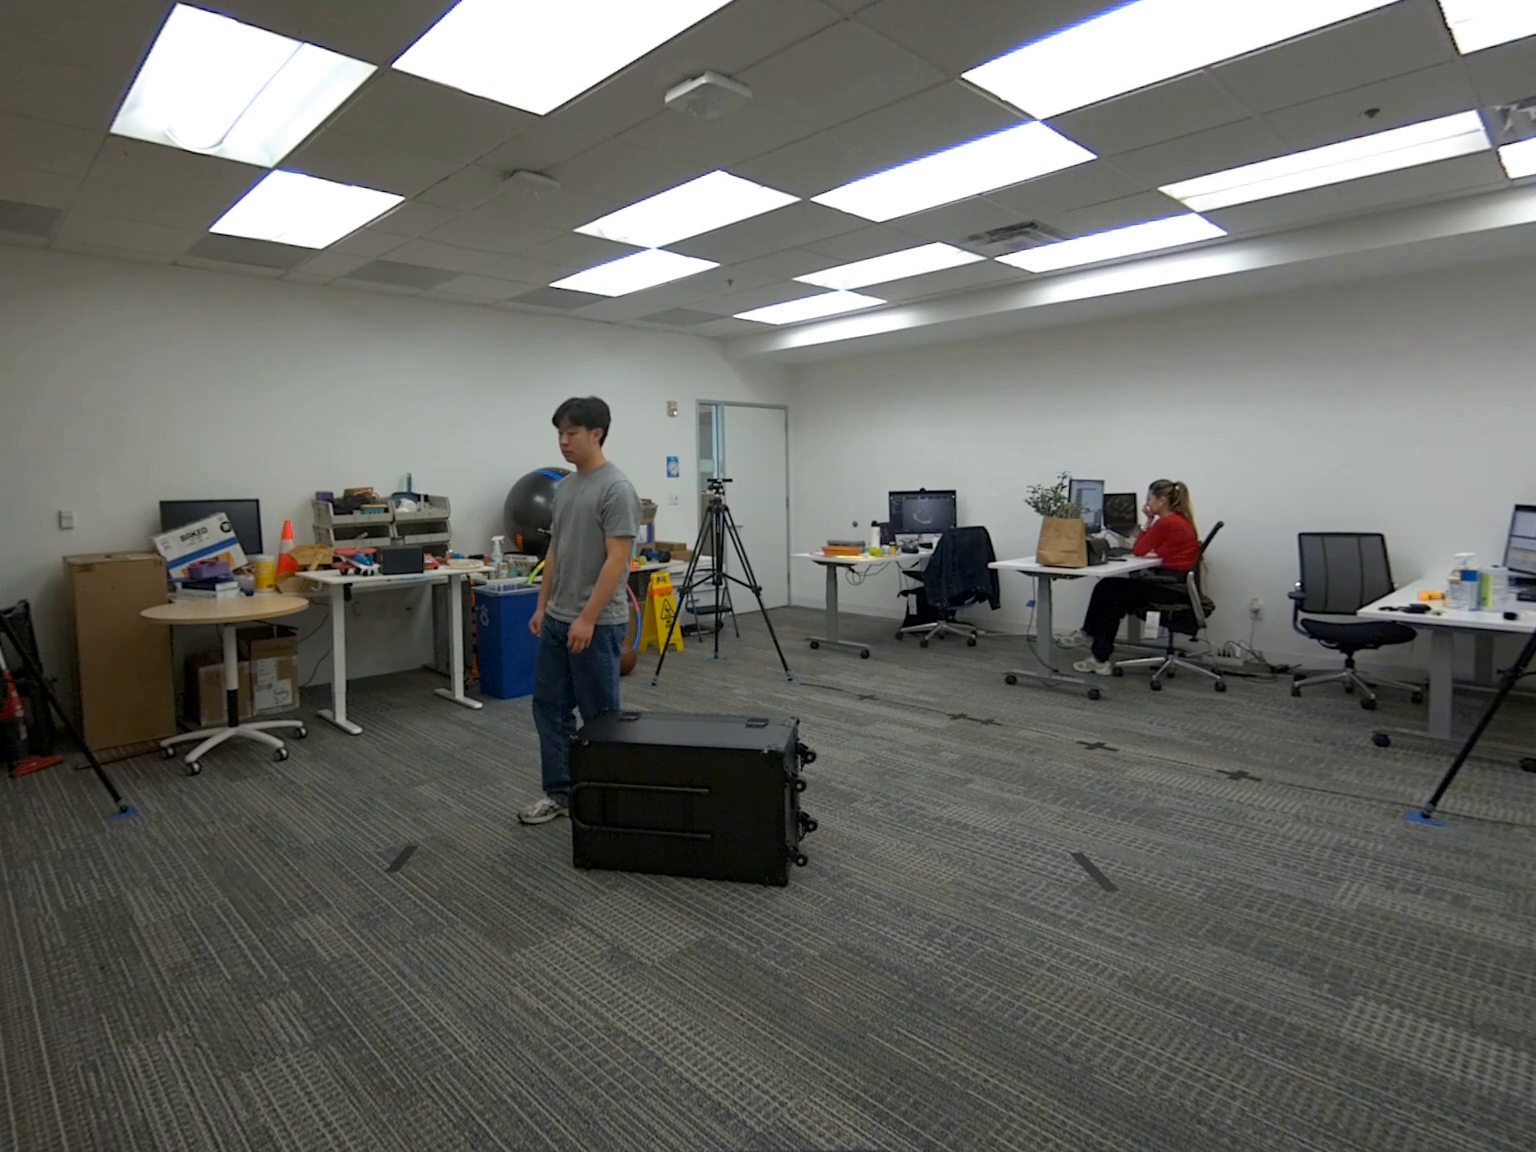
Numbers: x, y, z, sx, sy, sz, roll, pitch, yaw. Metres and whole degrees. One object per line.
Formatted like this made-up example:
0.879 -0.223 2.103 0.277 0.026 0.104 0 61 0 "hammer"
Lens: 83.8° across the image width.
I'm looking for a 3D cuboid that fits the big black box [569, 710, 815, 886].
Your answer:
-0.323 0.794 3.143 0.873 0.518 0.393 0 7 13 "big black box"
